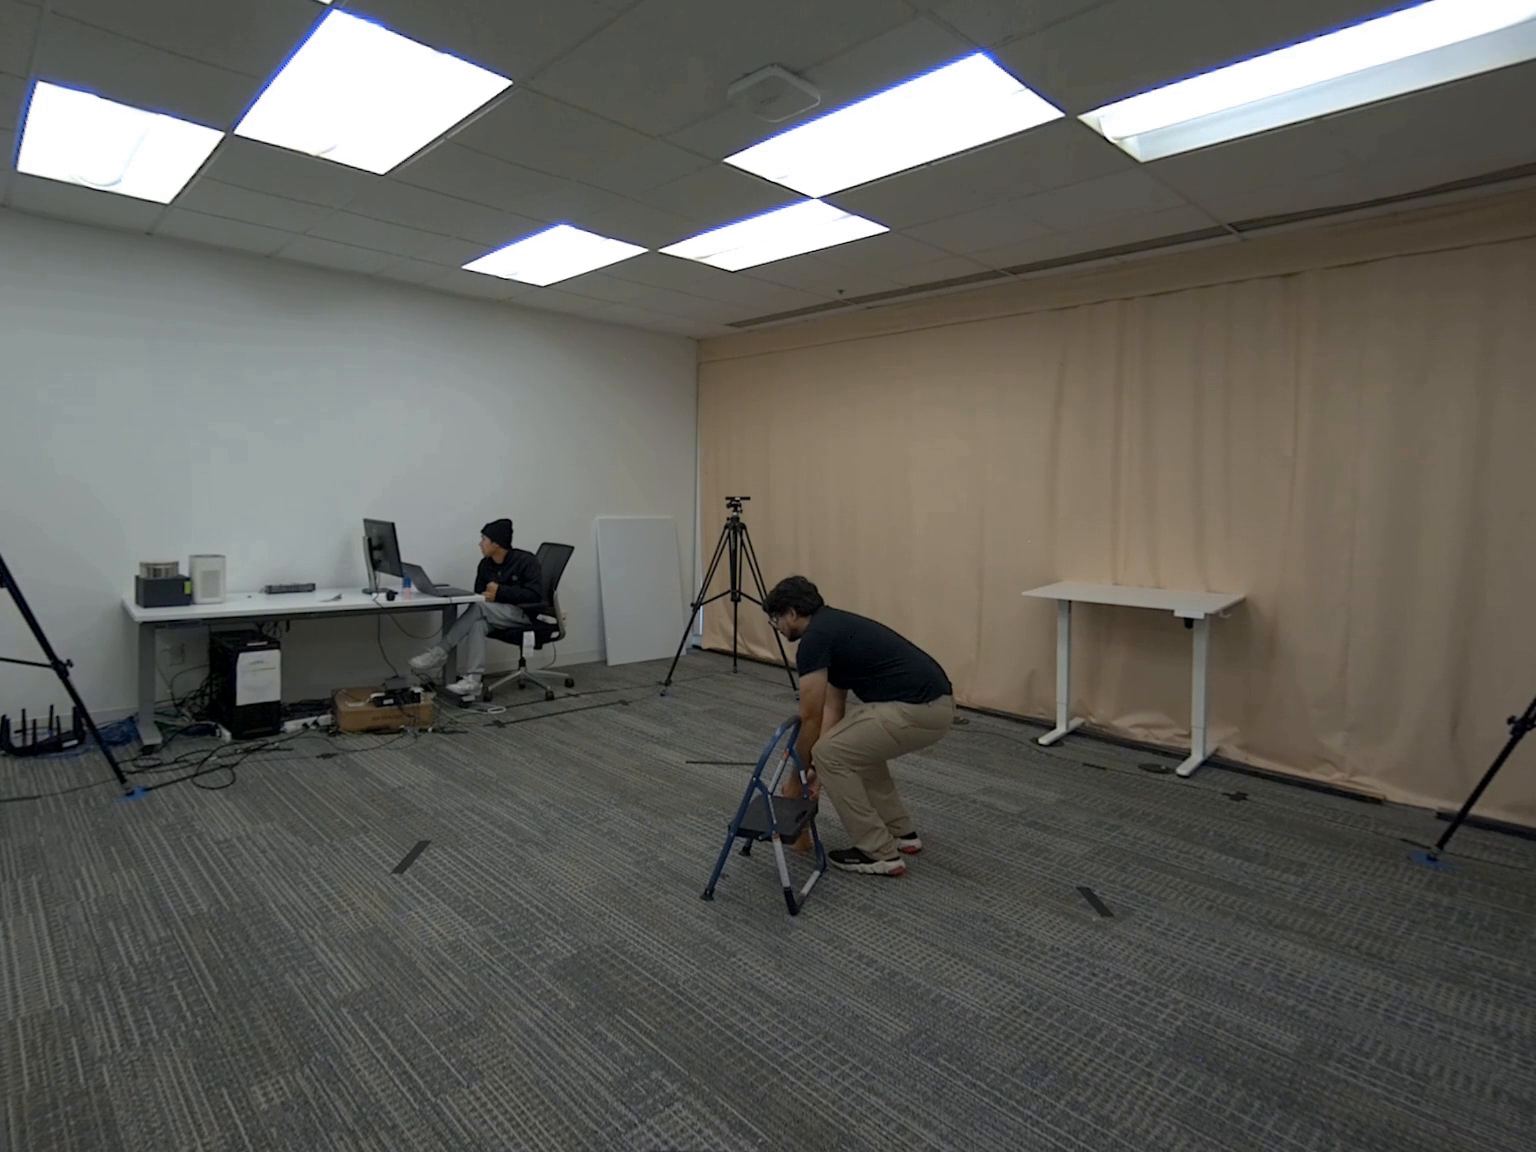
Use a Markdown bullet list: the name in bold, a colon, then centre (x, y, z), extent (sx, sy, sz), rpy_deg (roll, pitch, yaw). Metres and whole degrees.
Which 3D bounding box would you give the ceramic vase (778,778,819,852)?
- **ceramic vase**: centre (0.127, 0.981, 3.385), extent (0.155, 0.219, 0.138), rpy_deg (0, 5, -33)
